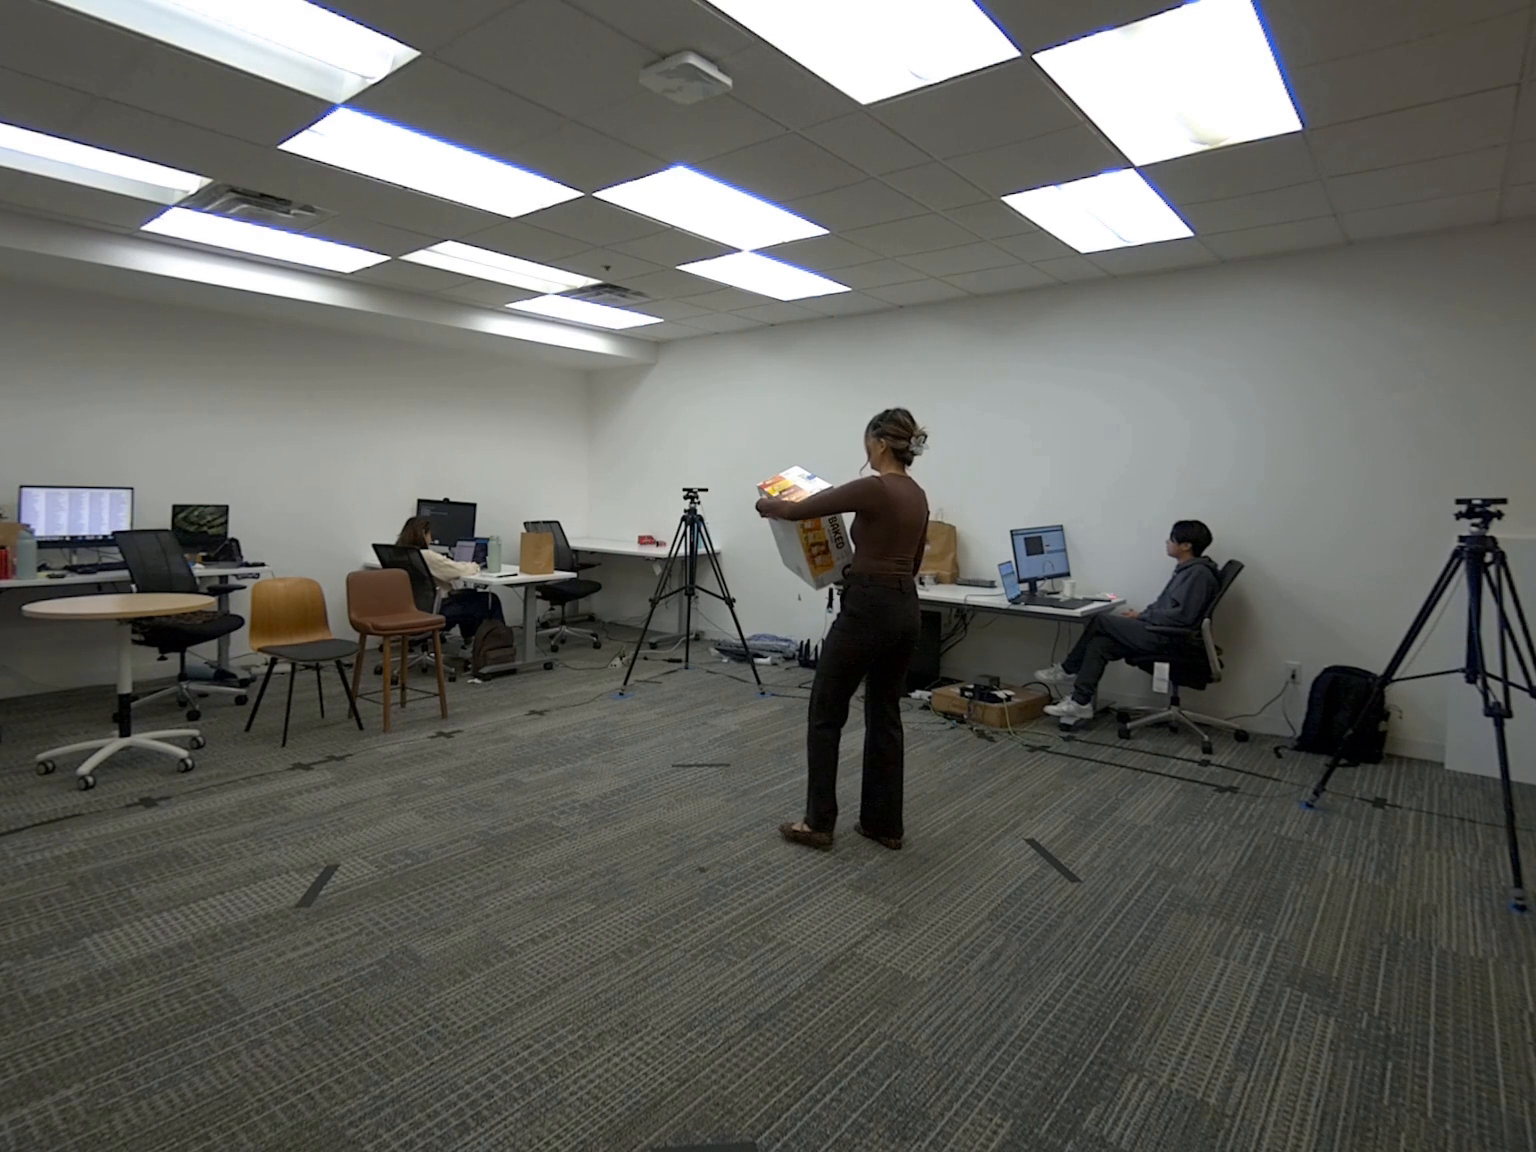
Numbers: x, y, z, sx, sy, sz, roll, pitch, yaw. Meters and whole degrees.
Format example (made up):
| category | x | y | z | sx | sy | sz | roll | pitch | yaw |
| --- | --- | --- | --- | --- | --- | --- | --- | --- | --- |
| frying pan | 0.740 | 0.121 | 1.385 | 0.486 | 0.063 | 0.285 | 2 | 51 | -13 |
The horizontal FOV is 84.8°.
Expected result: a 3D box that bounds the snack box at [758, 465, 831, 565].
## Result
| category | x | y | z | sx | sy | sz | roll | pitch | yaw |
| --- | --- | --- | --- | --- | --- | --- | --- | --- | --- |
| snack box | 0.148 | -0.211 | 3.573 | 0.204 | 0.394 | 0.352 | -25 | 26 | -12 |
